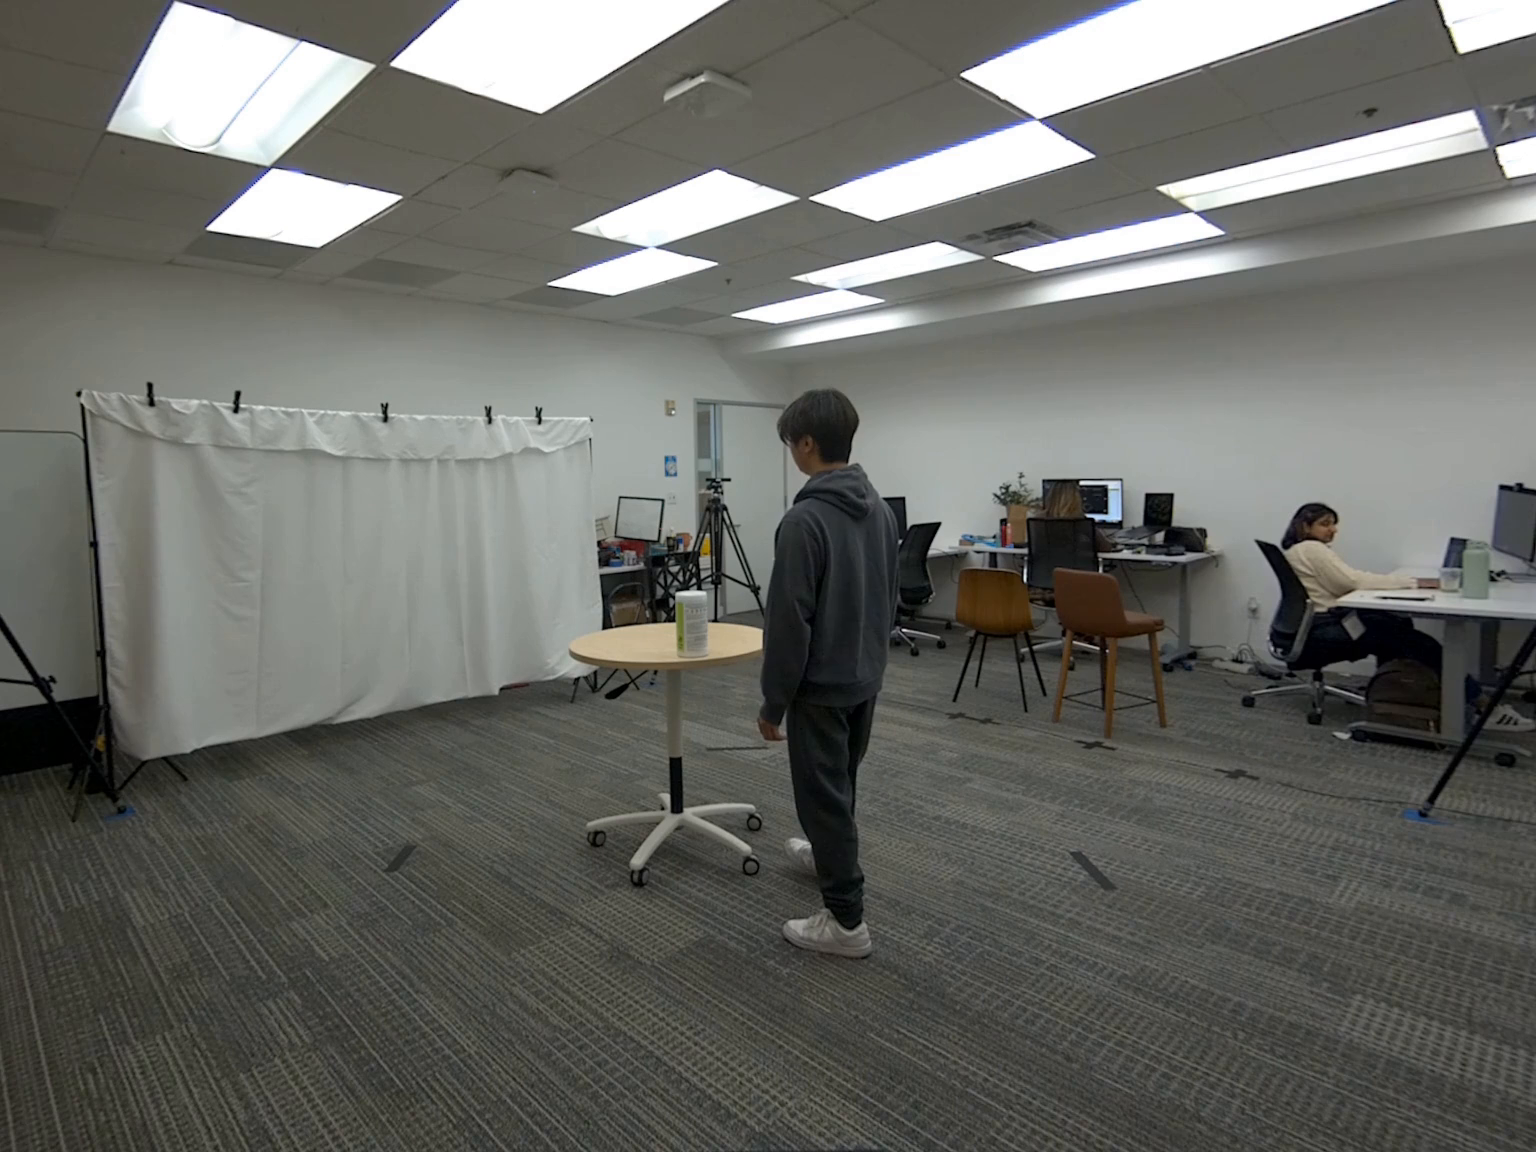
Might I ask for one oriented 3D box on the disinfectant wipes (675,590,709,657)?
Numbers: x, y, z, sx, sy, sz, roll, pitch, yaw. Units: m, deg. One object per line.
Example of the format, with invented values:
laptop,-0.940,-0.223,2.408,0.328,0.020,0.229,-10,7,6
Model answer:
disinfectant wipes,-0.253,0.159,2.905,0.118,0.216,0.118,-2,7,-1
